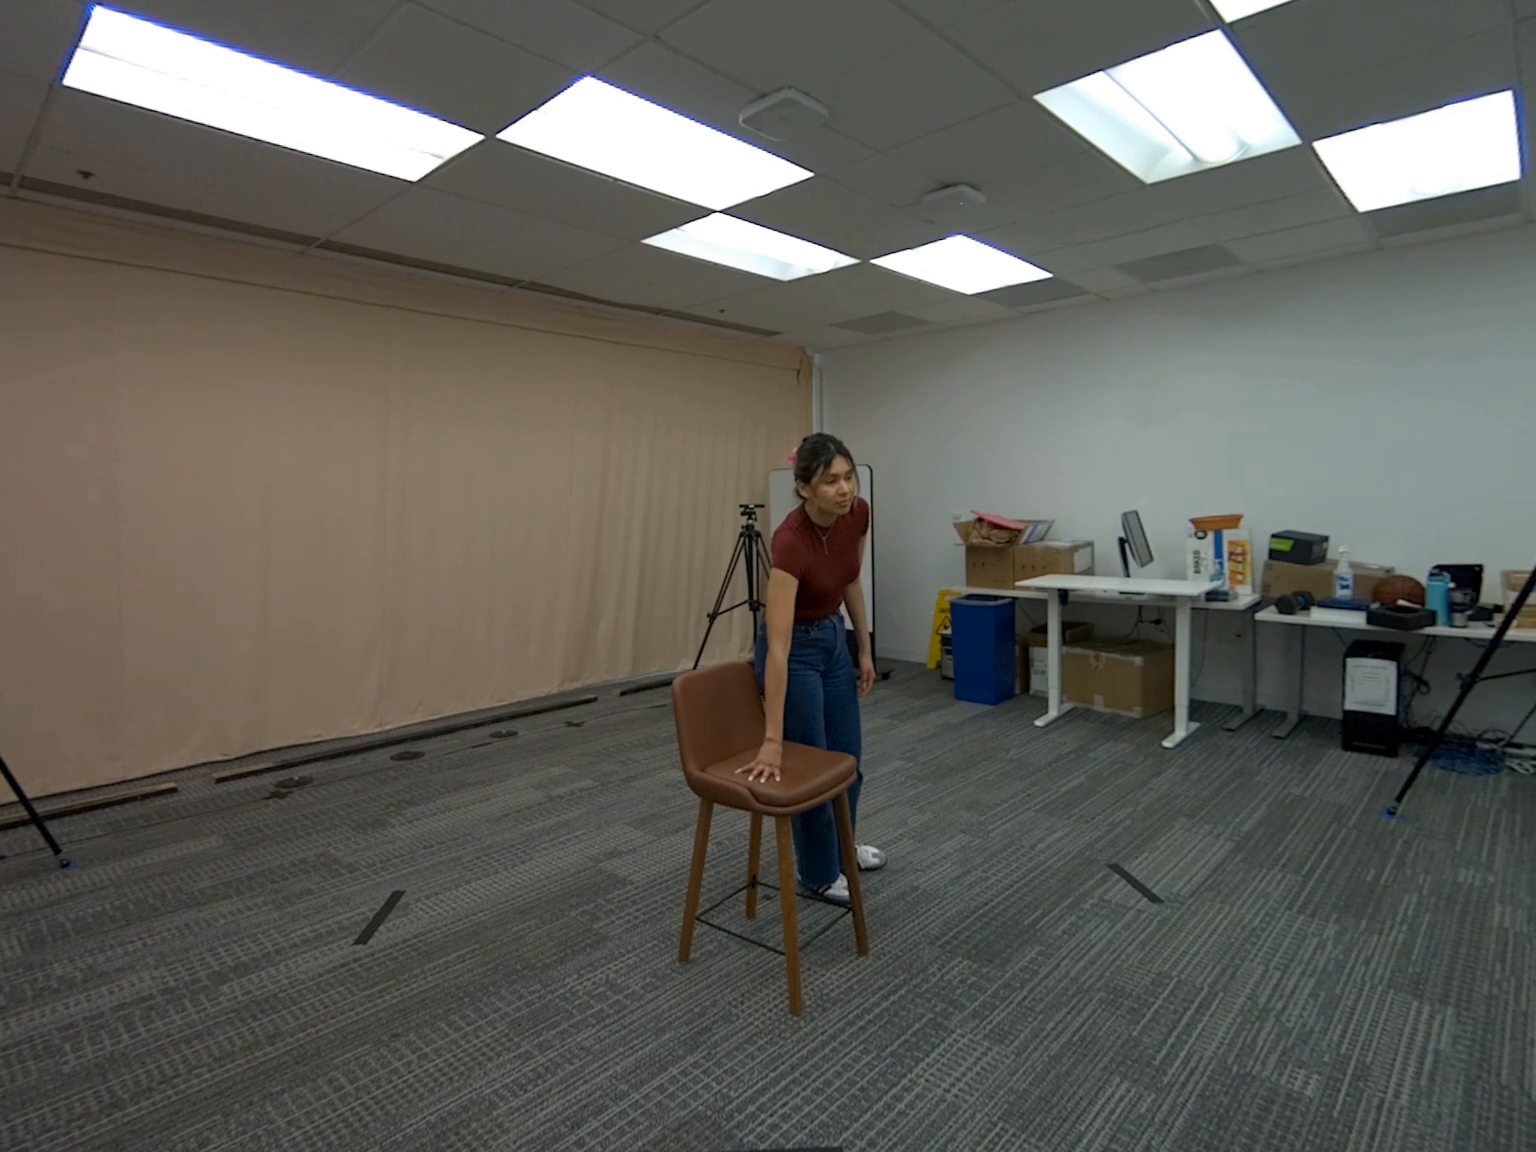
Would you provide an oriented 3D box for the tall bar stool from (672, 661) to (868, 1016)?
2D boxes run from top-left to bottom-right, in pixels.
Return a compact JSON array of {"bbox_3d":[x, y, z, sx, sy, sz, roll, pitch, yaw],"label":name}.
[{"bbox_3d":[0.002,0.744,2.554,0.482,0.888,0.443,0,3,37],"label":"tall bar stool"}]
